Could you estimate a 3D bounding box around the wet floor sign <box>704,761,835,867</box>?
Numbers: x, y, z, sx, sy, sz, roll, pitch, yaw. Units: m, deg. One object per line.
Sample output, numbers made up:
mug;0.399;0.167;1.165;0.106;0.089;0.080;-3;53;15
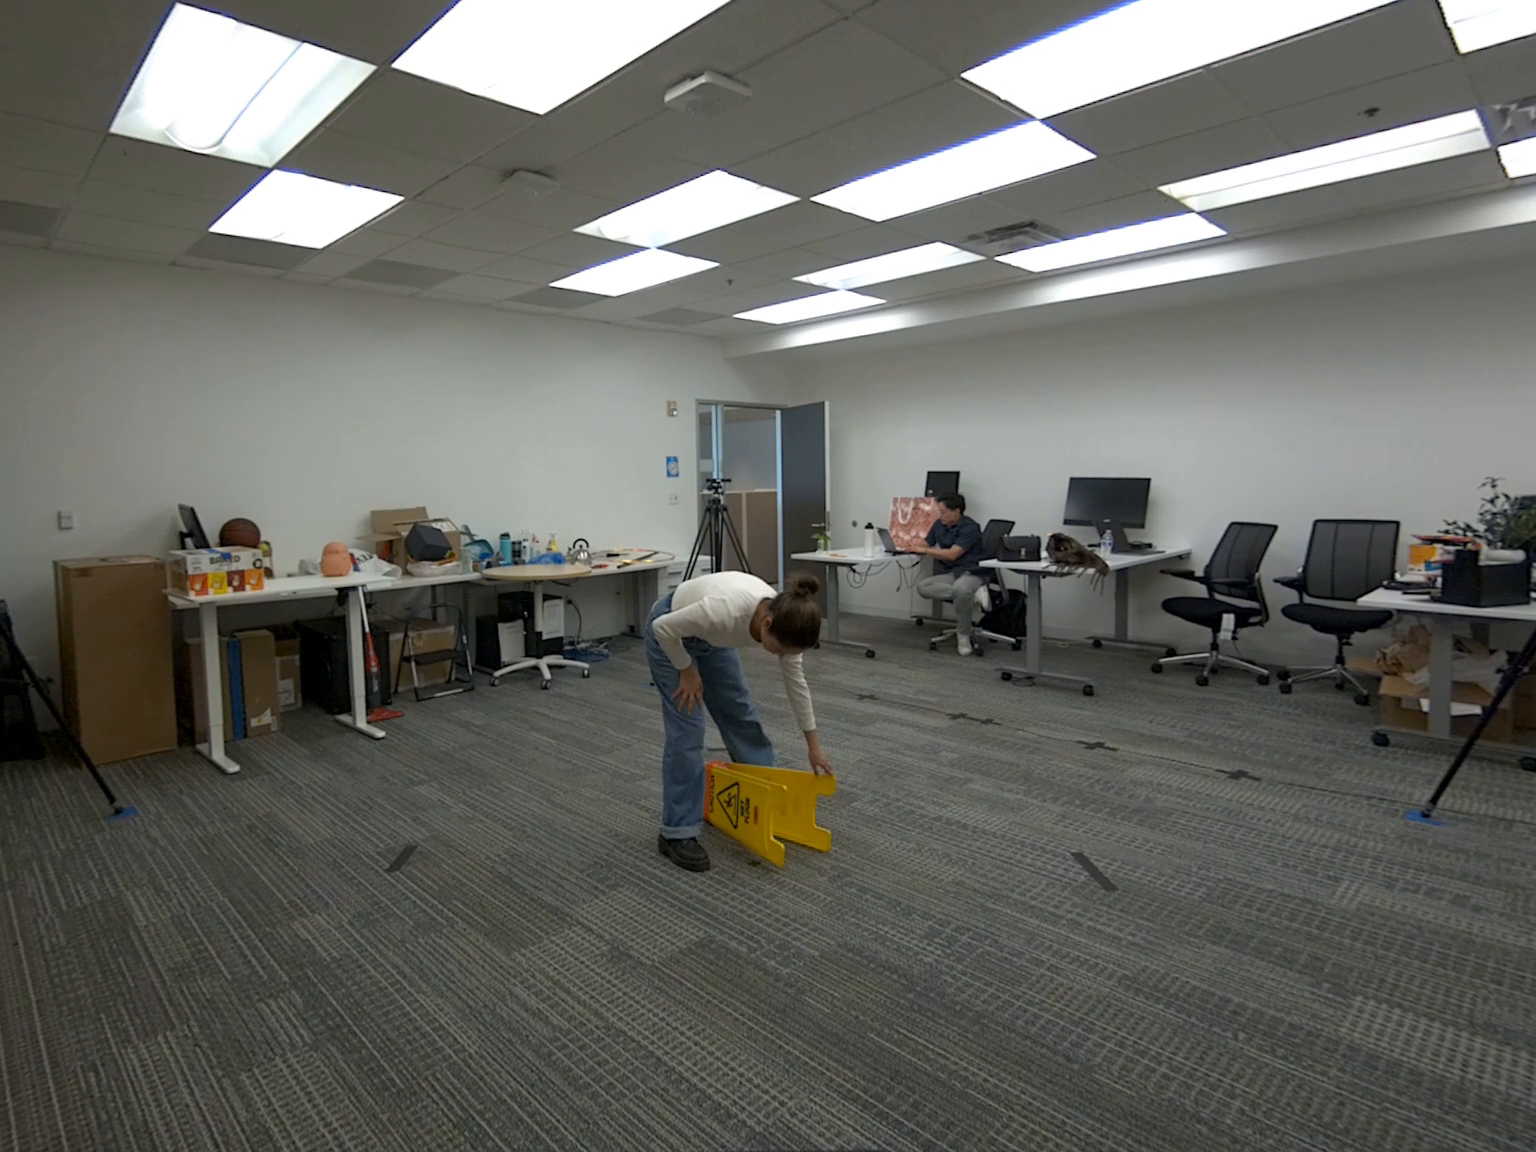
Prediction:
wet floor sign;-0.084;0.882;3.349;0.280;0.283;0.665;6;-3;-44
